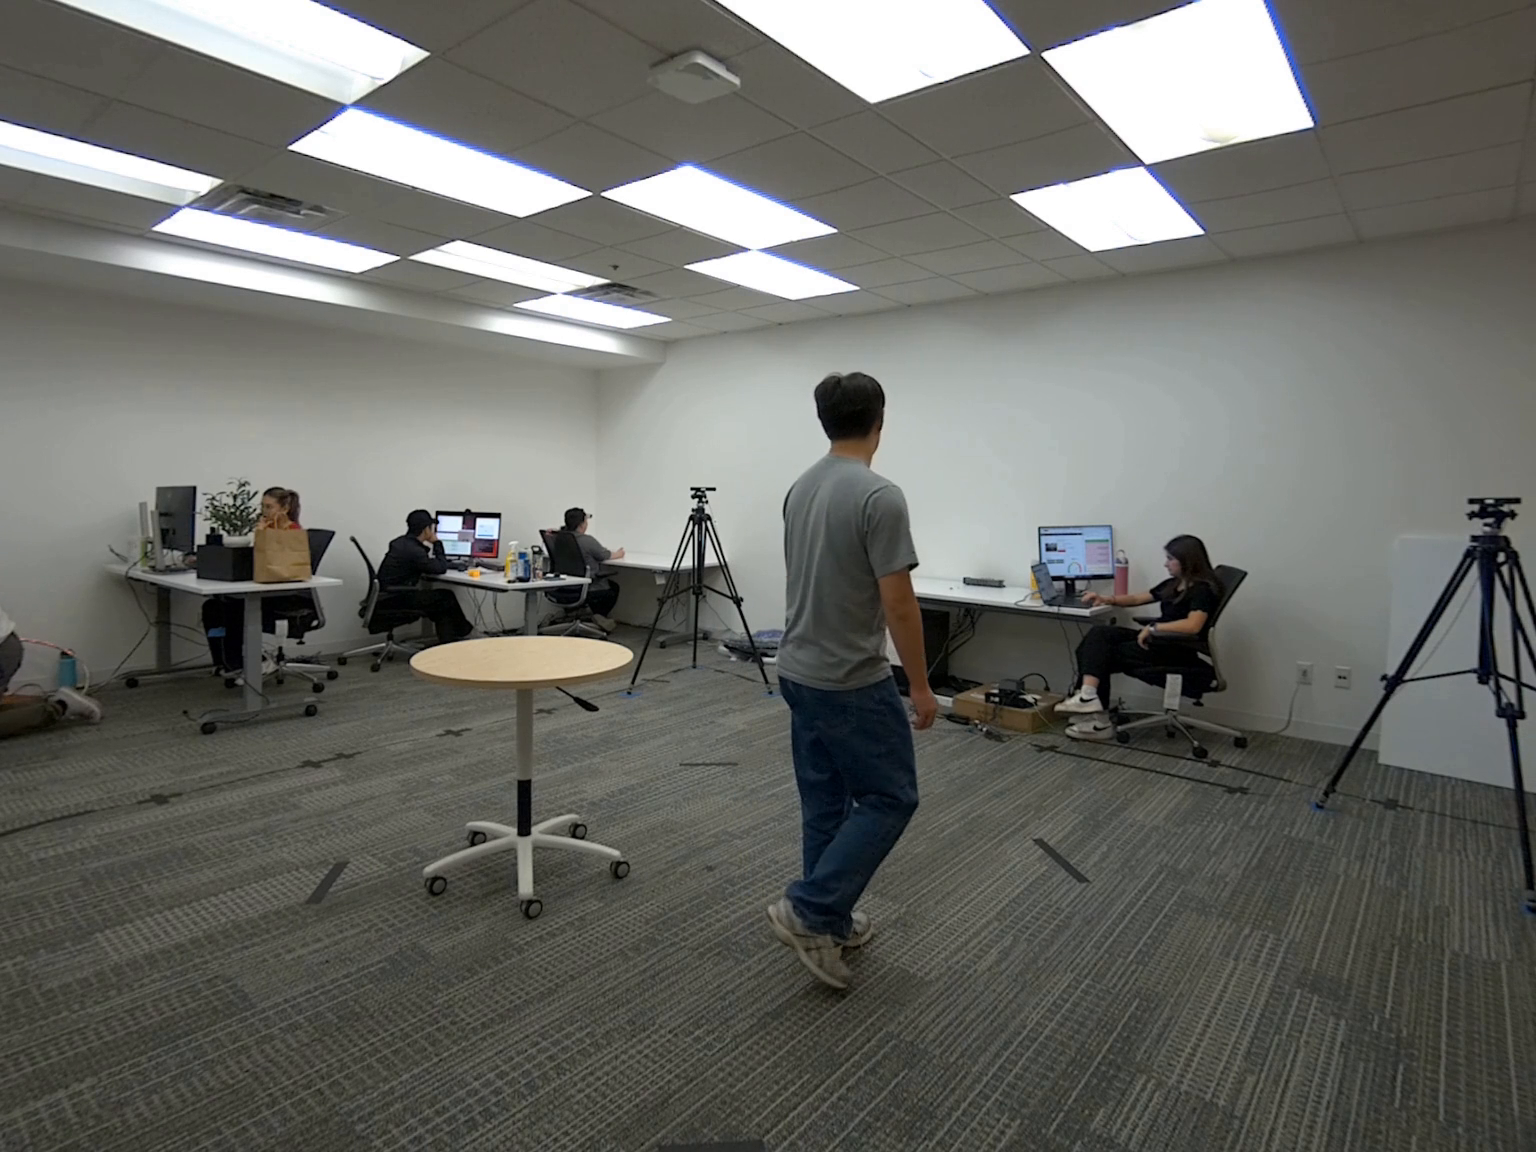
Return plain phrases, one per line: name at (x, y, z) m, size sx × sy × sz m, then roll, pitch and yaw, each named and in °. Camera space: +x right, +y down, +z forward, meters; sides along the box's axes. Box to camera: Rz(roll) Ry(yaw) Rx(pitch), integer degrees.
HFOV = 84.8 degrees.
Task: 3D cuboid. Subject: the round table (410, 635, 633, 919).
round table at (-0.878, 0.675, 3.027) m, size 0.763 × 0.791 × 0.768 m, roll 1°, pitch 4°, yaw -2°
